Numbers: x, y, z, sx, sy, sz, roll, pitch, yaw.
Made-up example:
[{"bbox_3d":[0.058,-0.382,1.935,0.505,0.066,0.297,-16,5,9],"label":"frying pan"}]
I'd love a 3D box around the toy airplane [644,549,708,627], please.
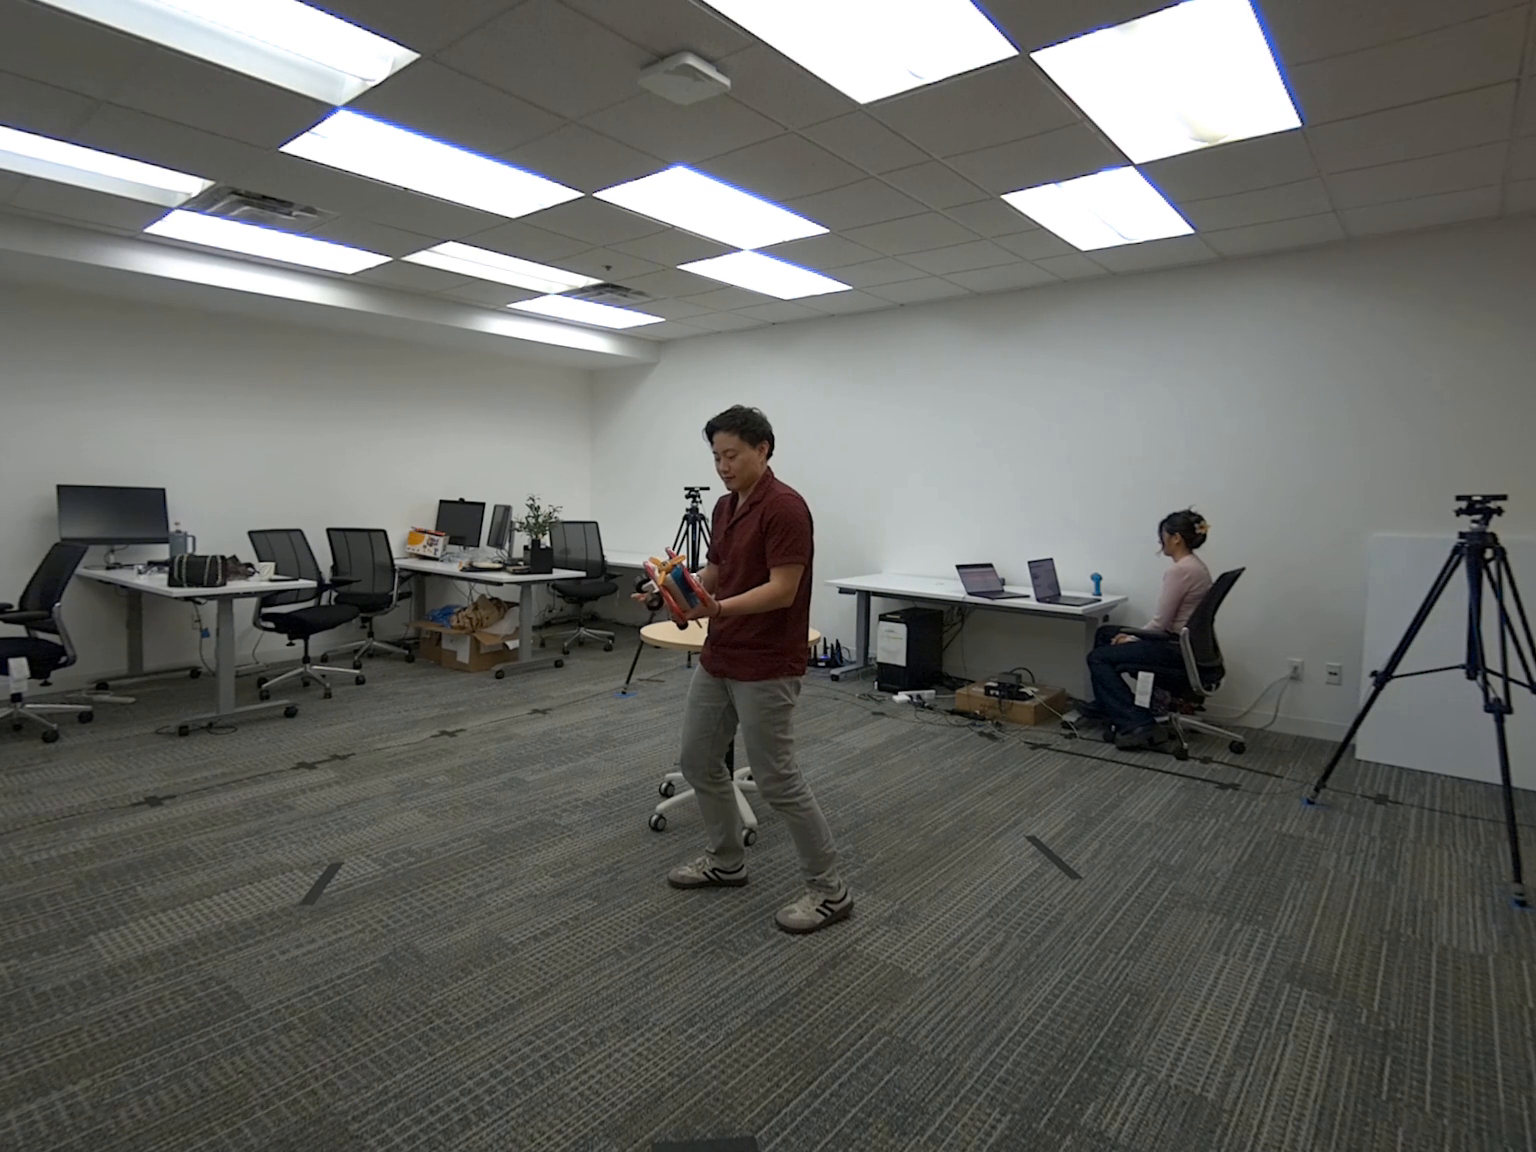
[{"bbox_3d":[-0.287,0.028,2.524,0.156,0.258,0.252,-43,-17,6],"label":"toy airplane"}]
